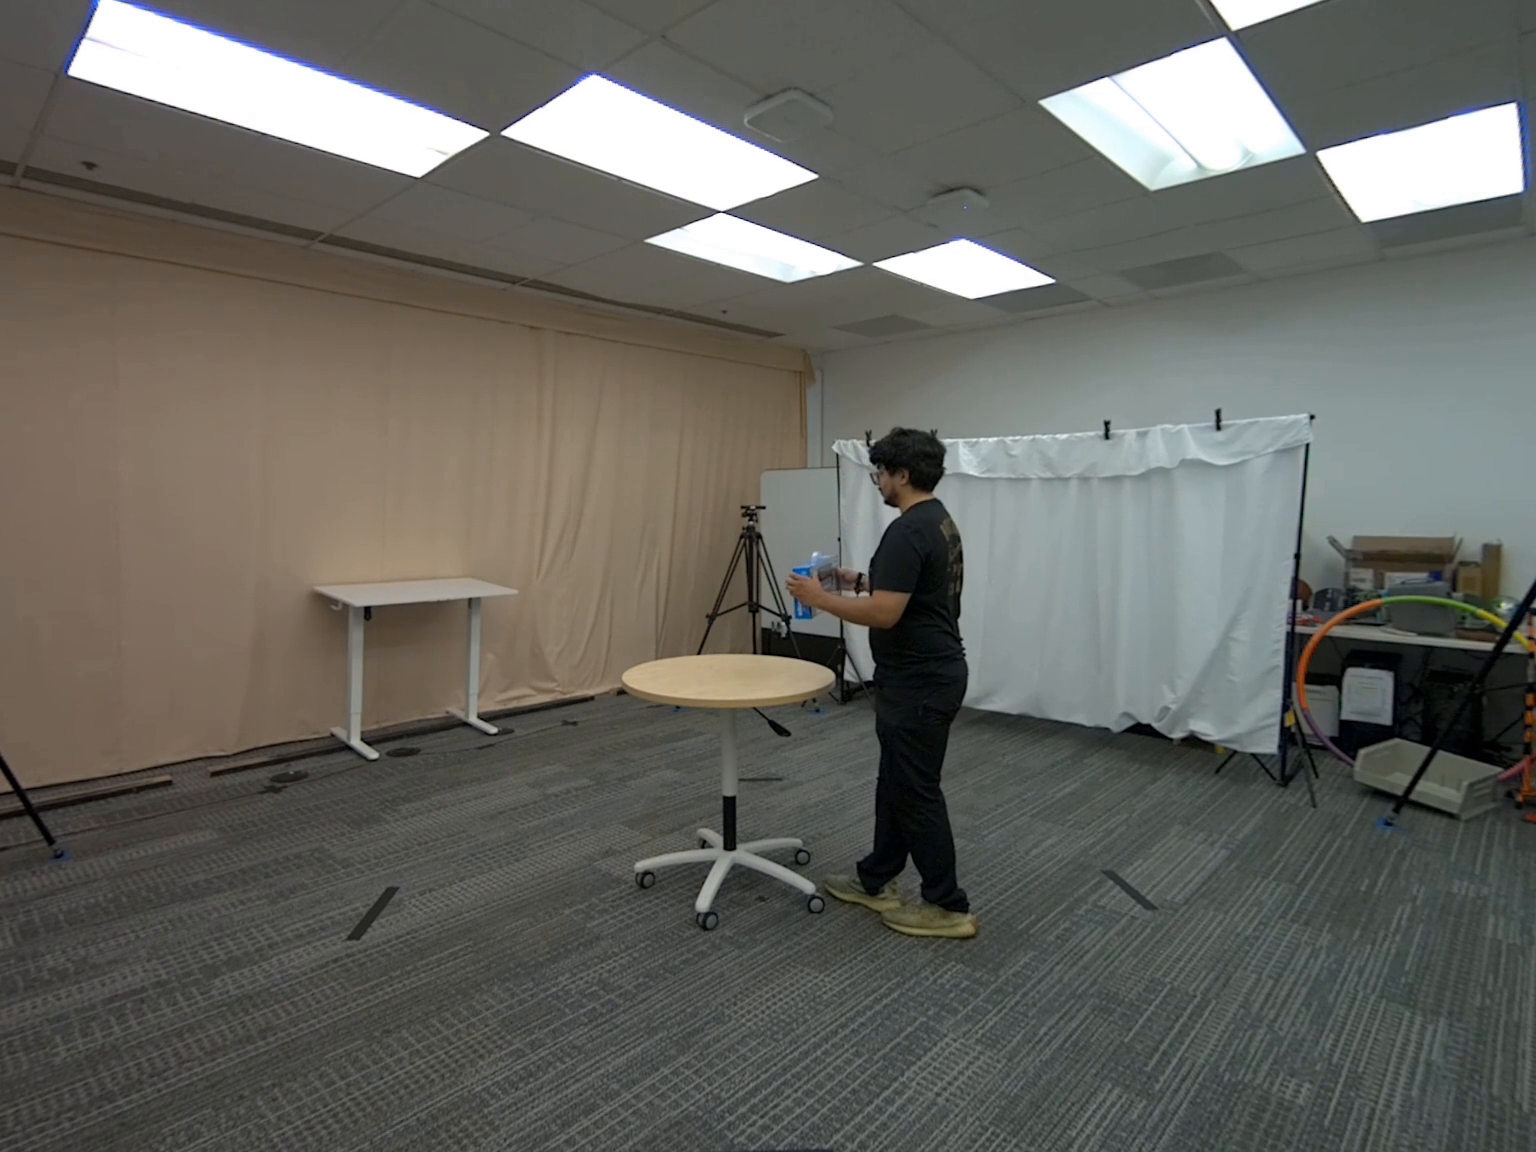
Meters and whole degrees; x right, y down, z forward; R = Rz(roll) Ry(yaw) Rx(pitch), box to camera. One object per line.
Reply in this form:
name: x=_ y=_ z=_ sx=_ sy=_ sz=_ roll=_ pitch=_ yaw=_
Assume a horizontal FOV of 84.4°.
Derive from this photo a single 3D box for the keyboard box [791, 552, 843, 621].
keyboard box: x=0.182 y=0.037 z=2.979 sx=0.060 sy=0.175 sz=0.429 roll=-3 pitch=5 yaw=18
